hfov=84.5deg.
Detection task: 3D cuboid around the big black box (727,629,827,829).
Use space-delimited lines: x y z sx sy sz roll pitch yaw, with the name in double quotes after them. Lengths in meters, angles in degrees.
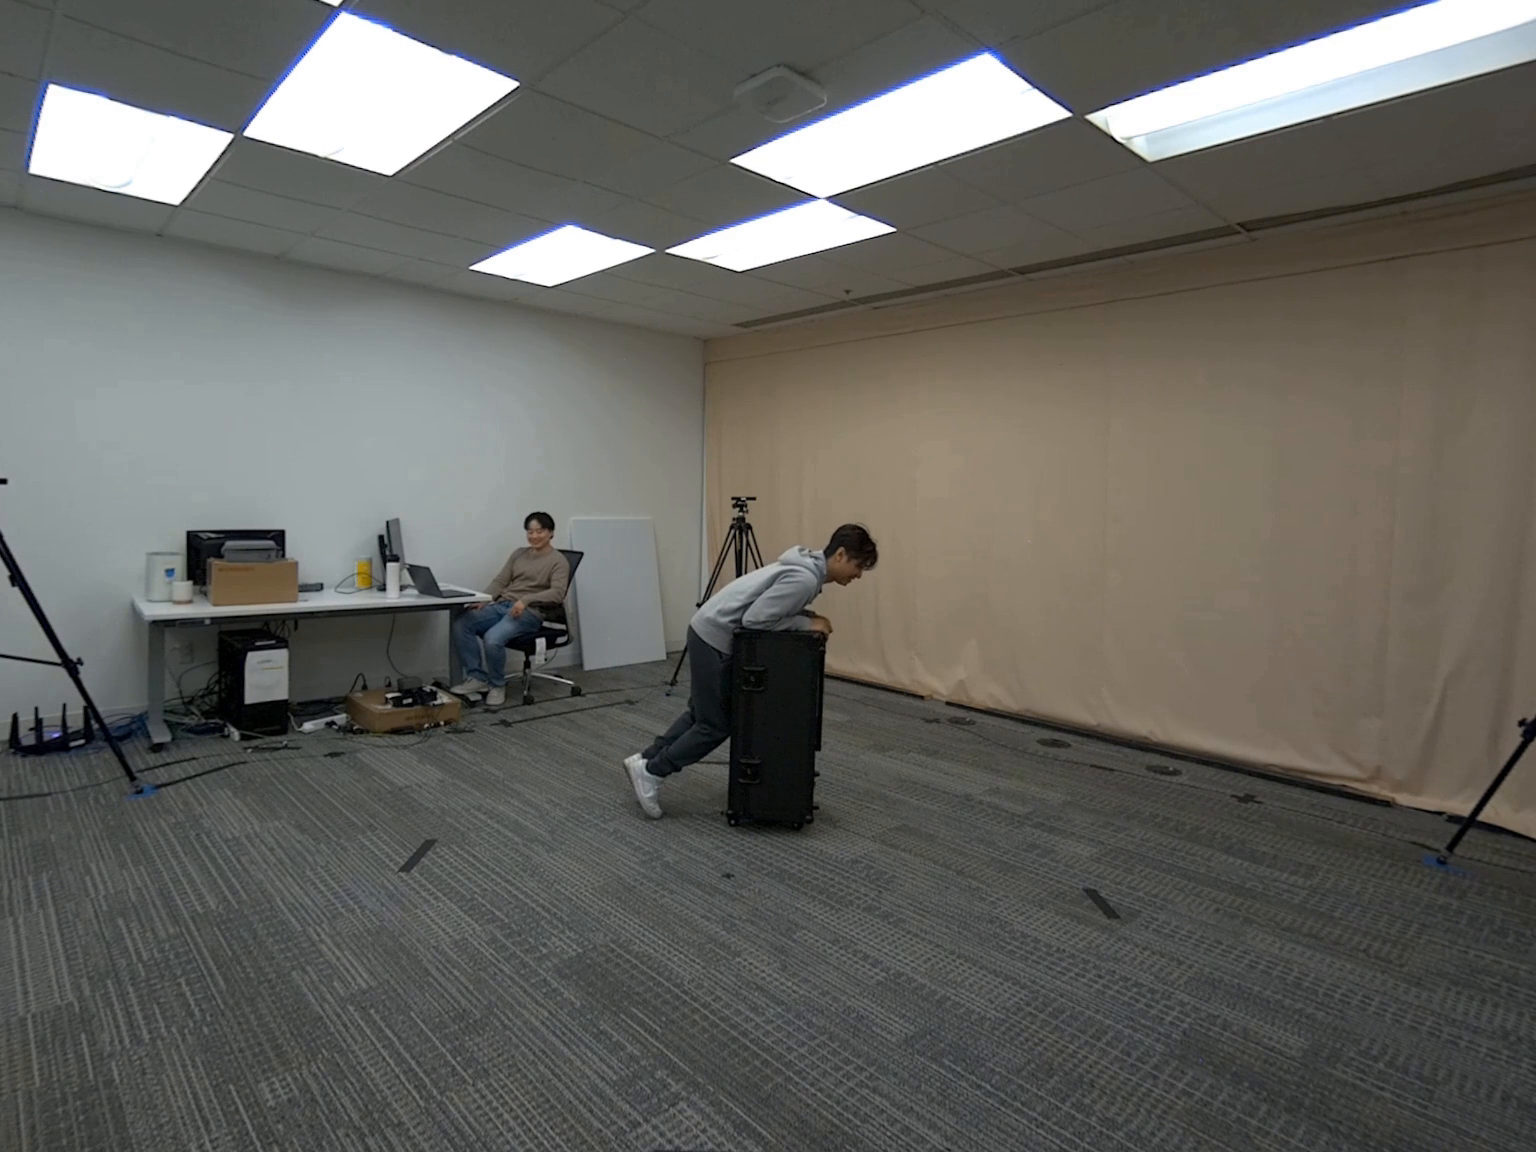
0.038 0.644 3.701 0.398 0.859 0.520 4 4 4 "big black box"
